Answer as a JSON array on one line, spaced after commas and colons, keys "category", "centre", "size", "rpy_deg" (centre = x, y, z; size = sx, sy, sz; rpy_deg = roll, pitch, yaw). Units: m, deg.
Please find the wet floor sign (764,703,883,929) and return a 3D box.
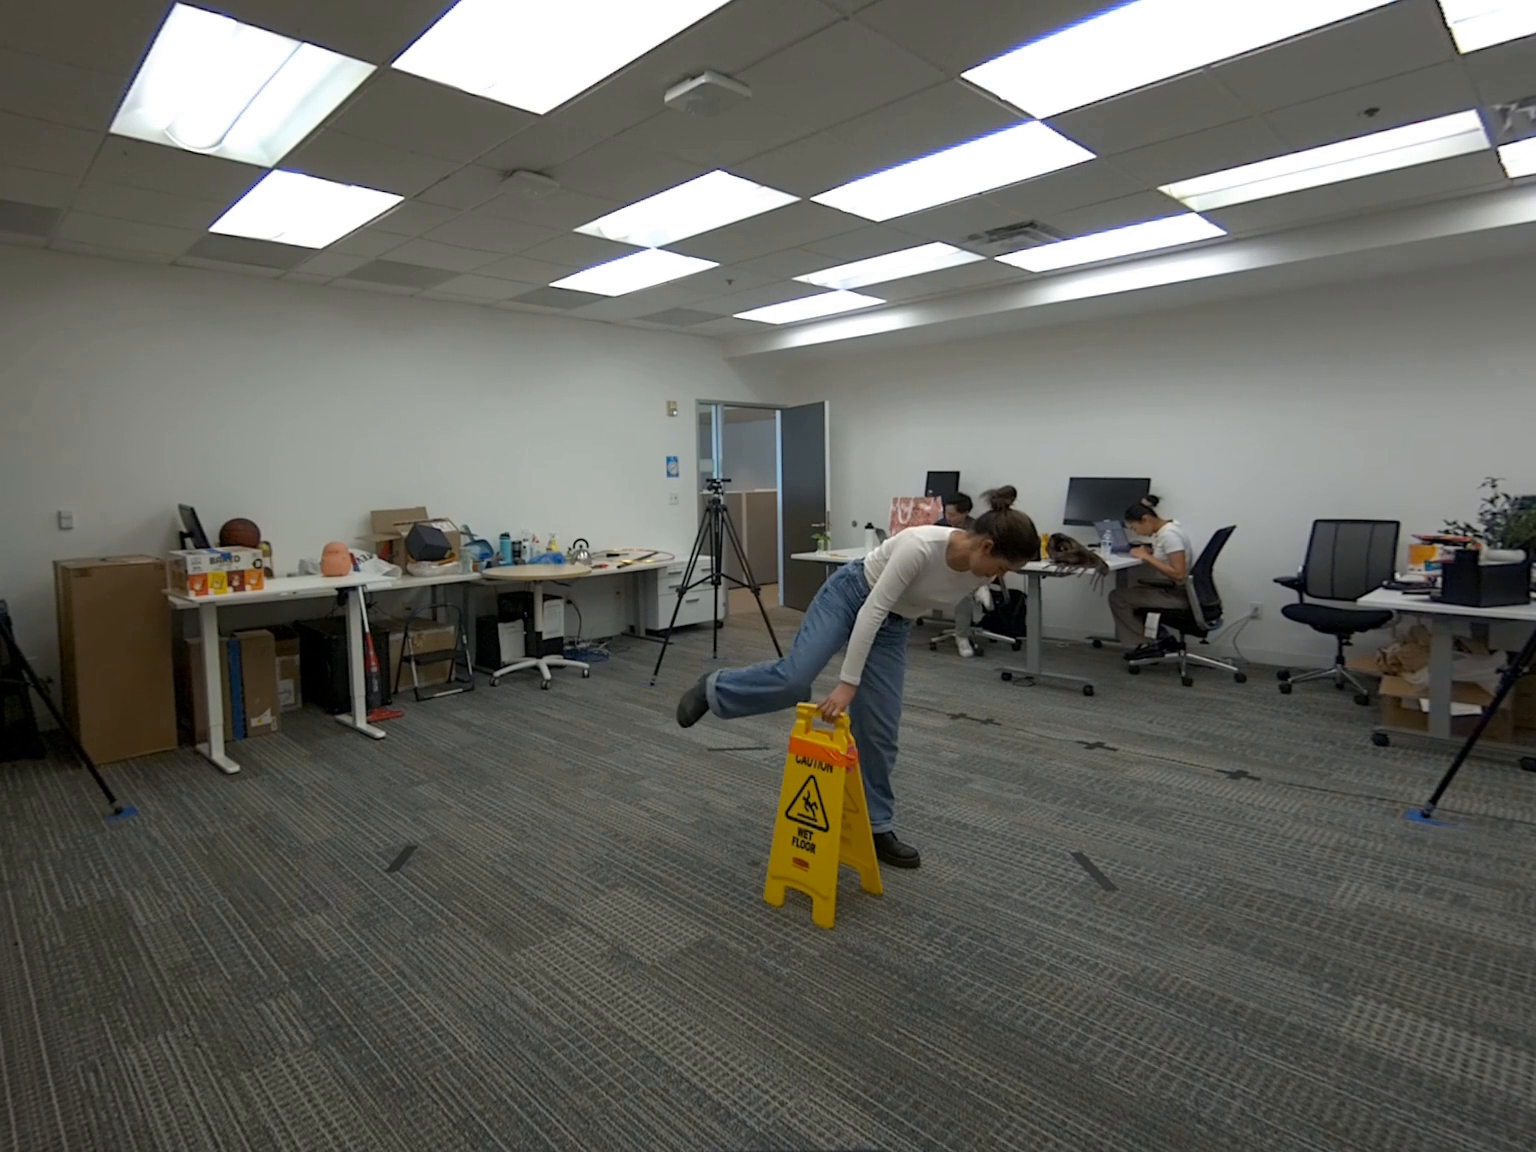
[{"category": "wet floor sign", "centre": [0.183, 0.753, 2.815], "size": [0.291, 0.643, 0.282], "rpy_deg": [3, 6, 41]}]
